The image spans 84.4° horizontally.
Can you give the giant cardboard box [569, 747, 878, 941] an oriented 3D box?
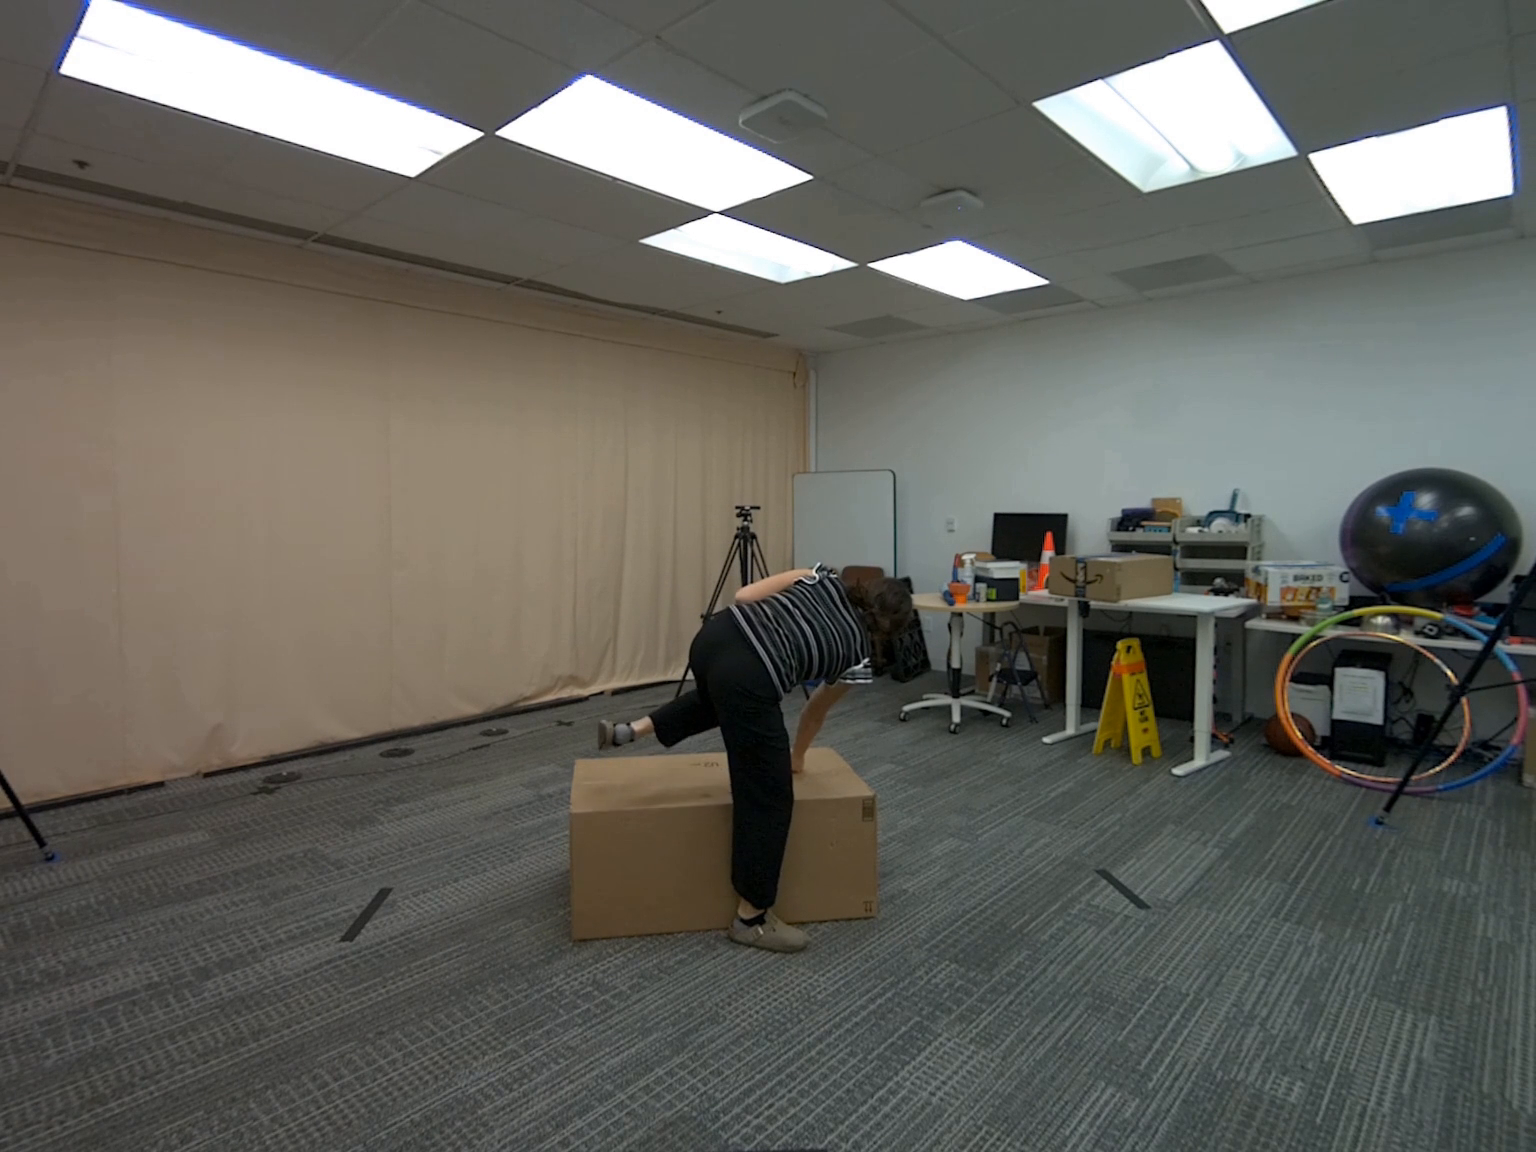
[{"bbox_3d":[-0.188,0.932,3.041,1.017,0.425,0.584,-1,4,-9],"label":"giant cardboard box"}]
